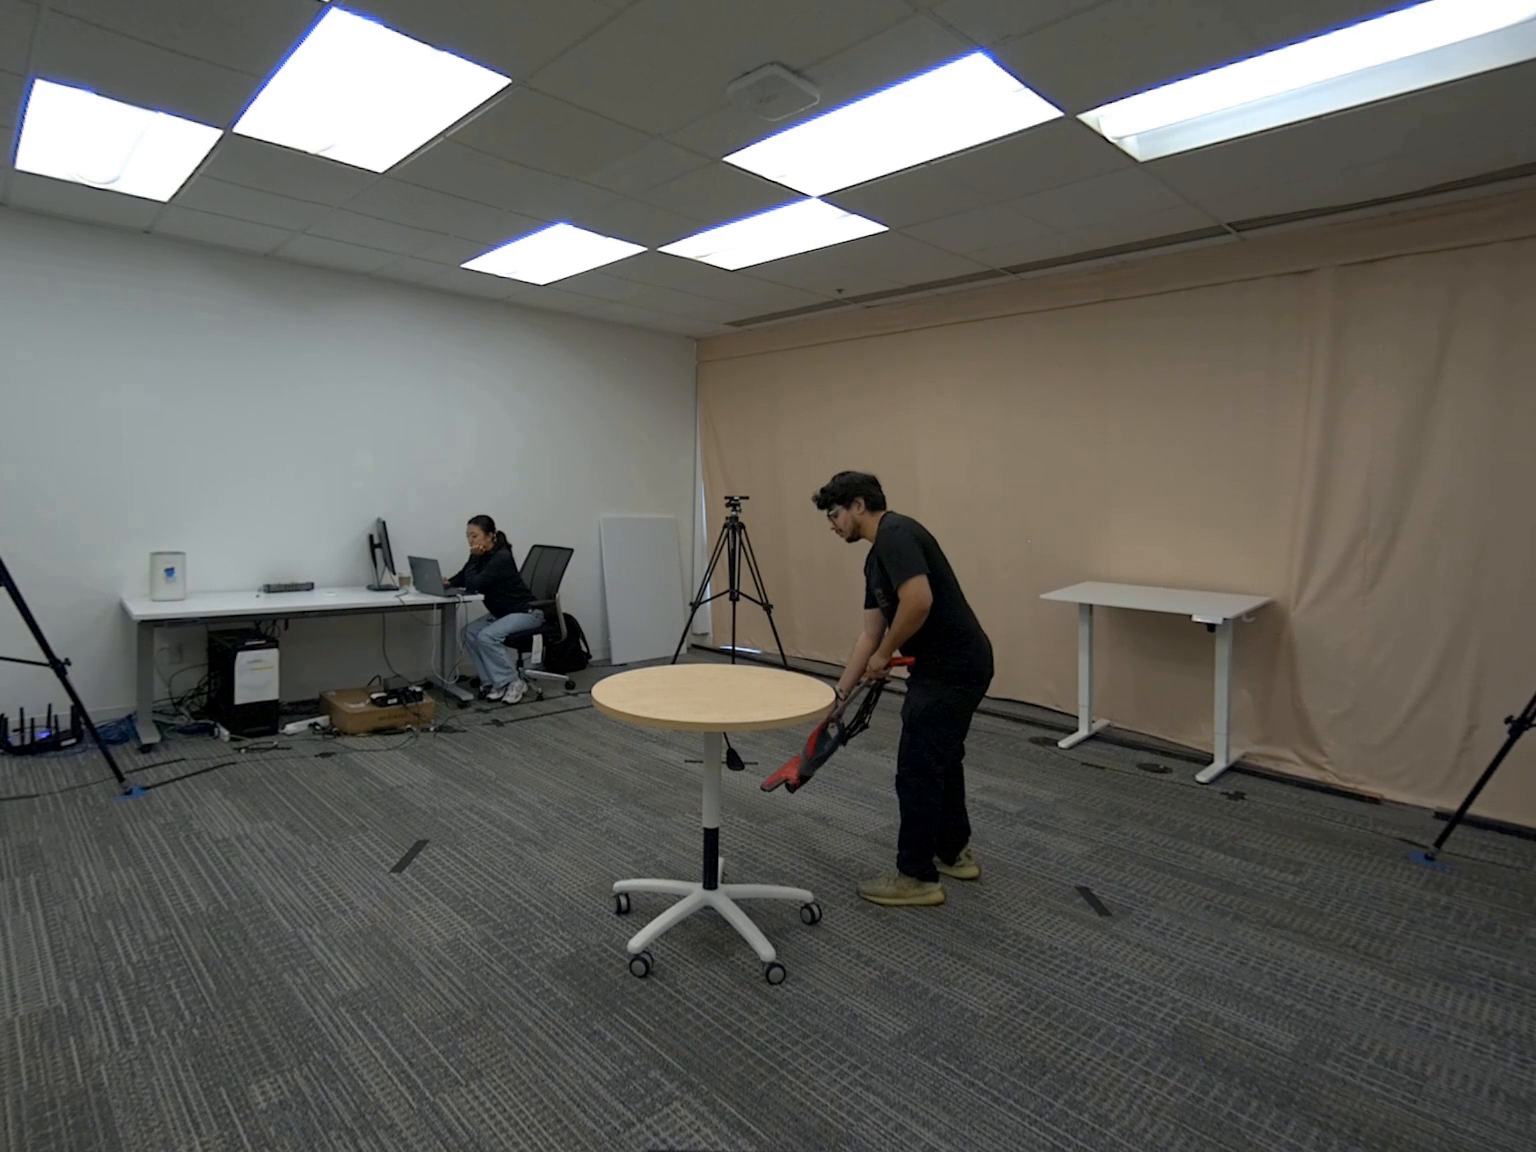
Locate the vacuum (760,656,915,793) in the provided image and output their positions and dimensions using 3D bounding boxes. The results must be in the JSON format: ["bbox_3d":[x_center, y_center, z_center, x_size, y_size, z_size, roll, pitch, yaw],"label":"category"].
[{"bbox_3d":[0.254,0.560,3.180,0.251,0.146,1.040,-35,-17,-37],"label":"vacuum"}]
